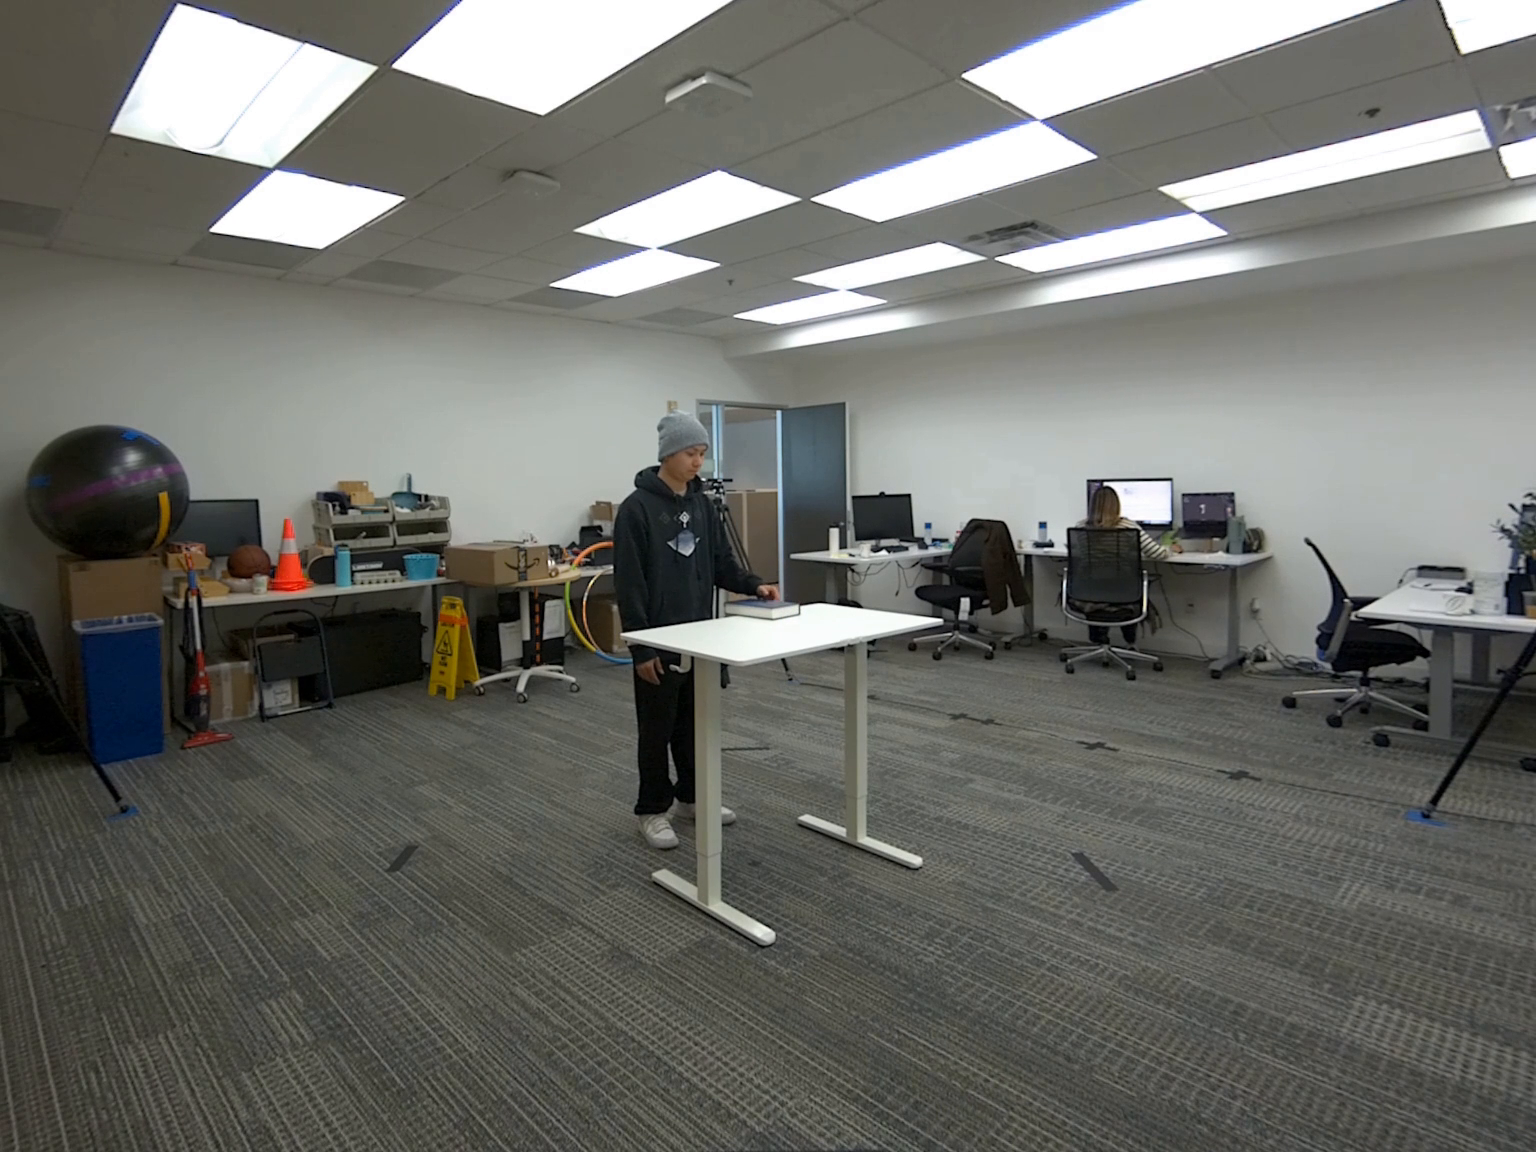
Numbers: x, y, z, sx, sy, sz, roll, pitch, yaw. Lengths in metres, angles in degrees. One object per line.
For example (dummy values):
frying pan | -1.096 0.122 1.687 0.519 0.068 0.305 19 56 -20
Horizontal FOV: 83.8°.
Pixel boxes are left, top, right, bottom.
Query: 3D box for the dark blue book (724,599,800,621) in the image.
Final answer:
dark blue book | -0.030 0.126 3.236 0.252 0.045 0.159 4 7 40
